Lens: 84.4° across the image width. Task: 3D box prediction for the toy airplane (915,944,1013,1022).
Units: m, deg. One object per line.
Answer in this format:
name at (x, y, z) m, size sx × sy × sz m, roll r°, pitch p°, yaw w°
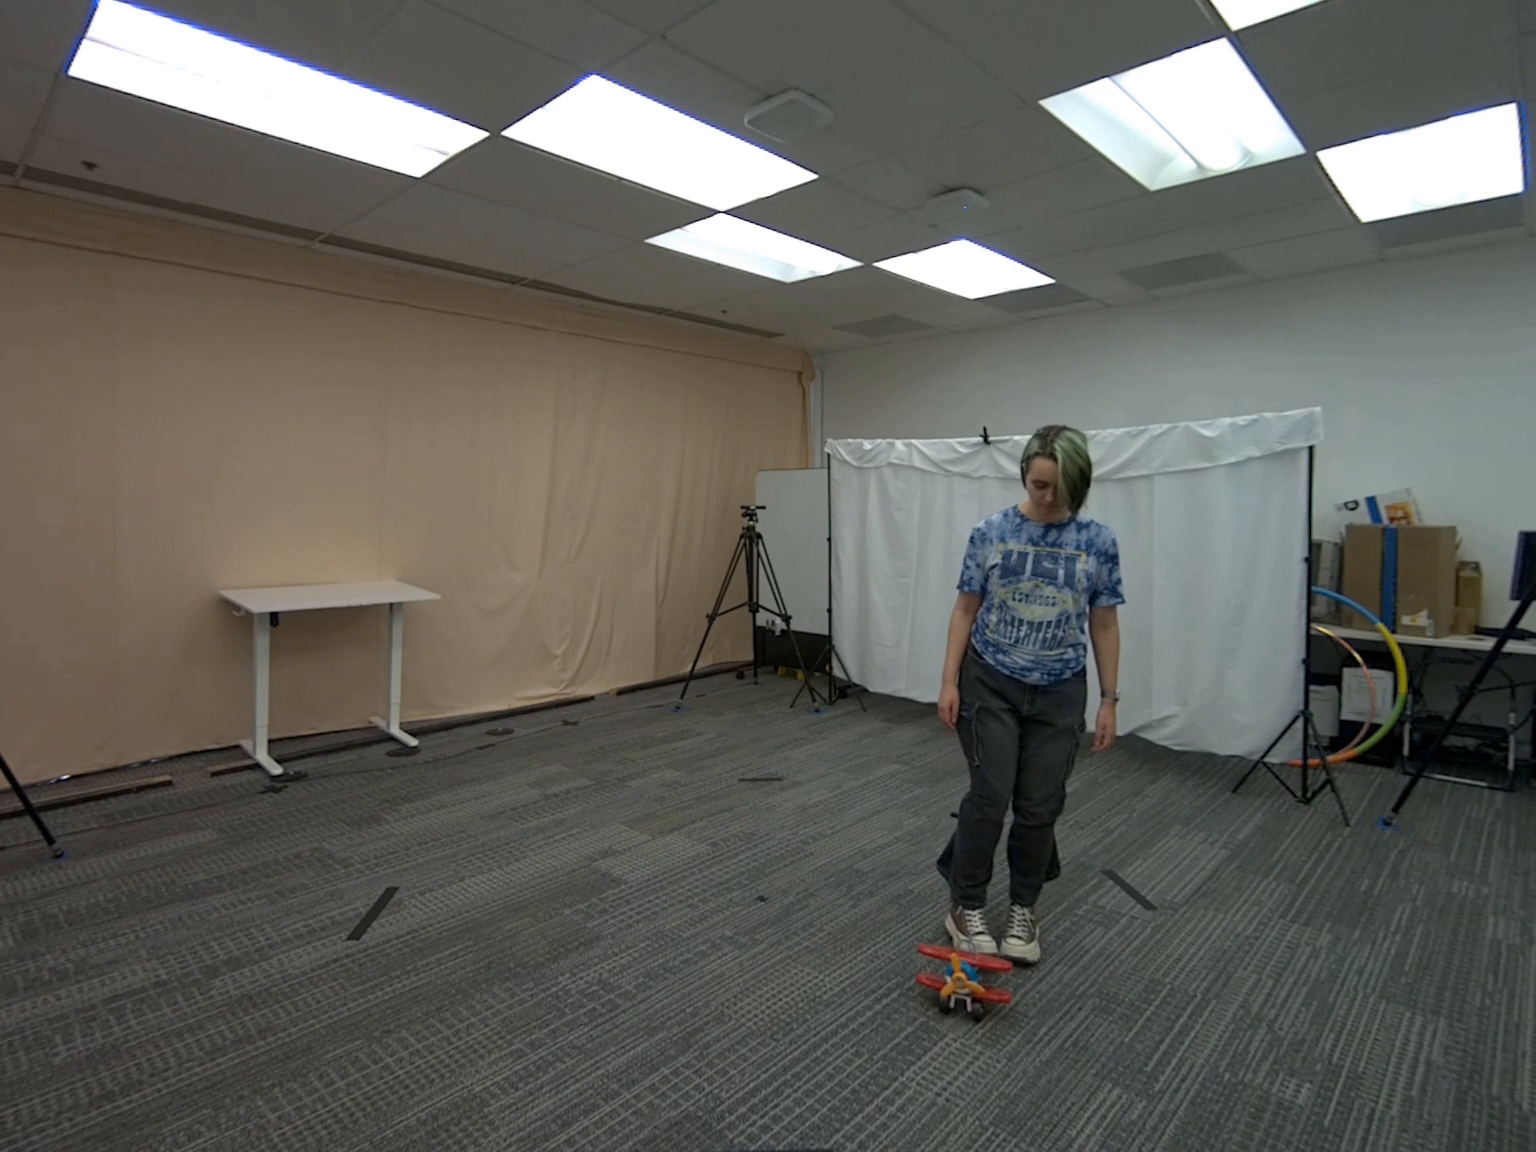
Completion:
toy airplane at (0.543, 1.122, 2.372) m, size 0.249 × 0.156 × 0.262 m, roll 0°, pitch 6°, yaw -7°
